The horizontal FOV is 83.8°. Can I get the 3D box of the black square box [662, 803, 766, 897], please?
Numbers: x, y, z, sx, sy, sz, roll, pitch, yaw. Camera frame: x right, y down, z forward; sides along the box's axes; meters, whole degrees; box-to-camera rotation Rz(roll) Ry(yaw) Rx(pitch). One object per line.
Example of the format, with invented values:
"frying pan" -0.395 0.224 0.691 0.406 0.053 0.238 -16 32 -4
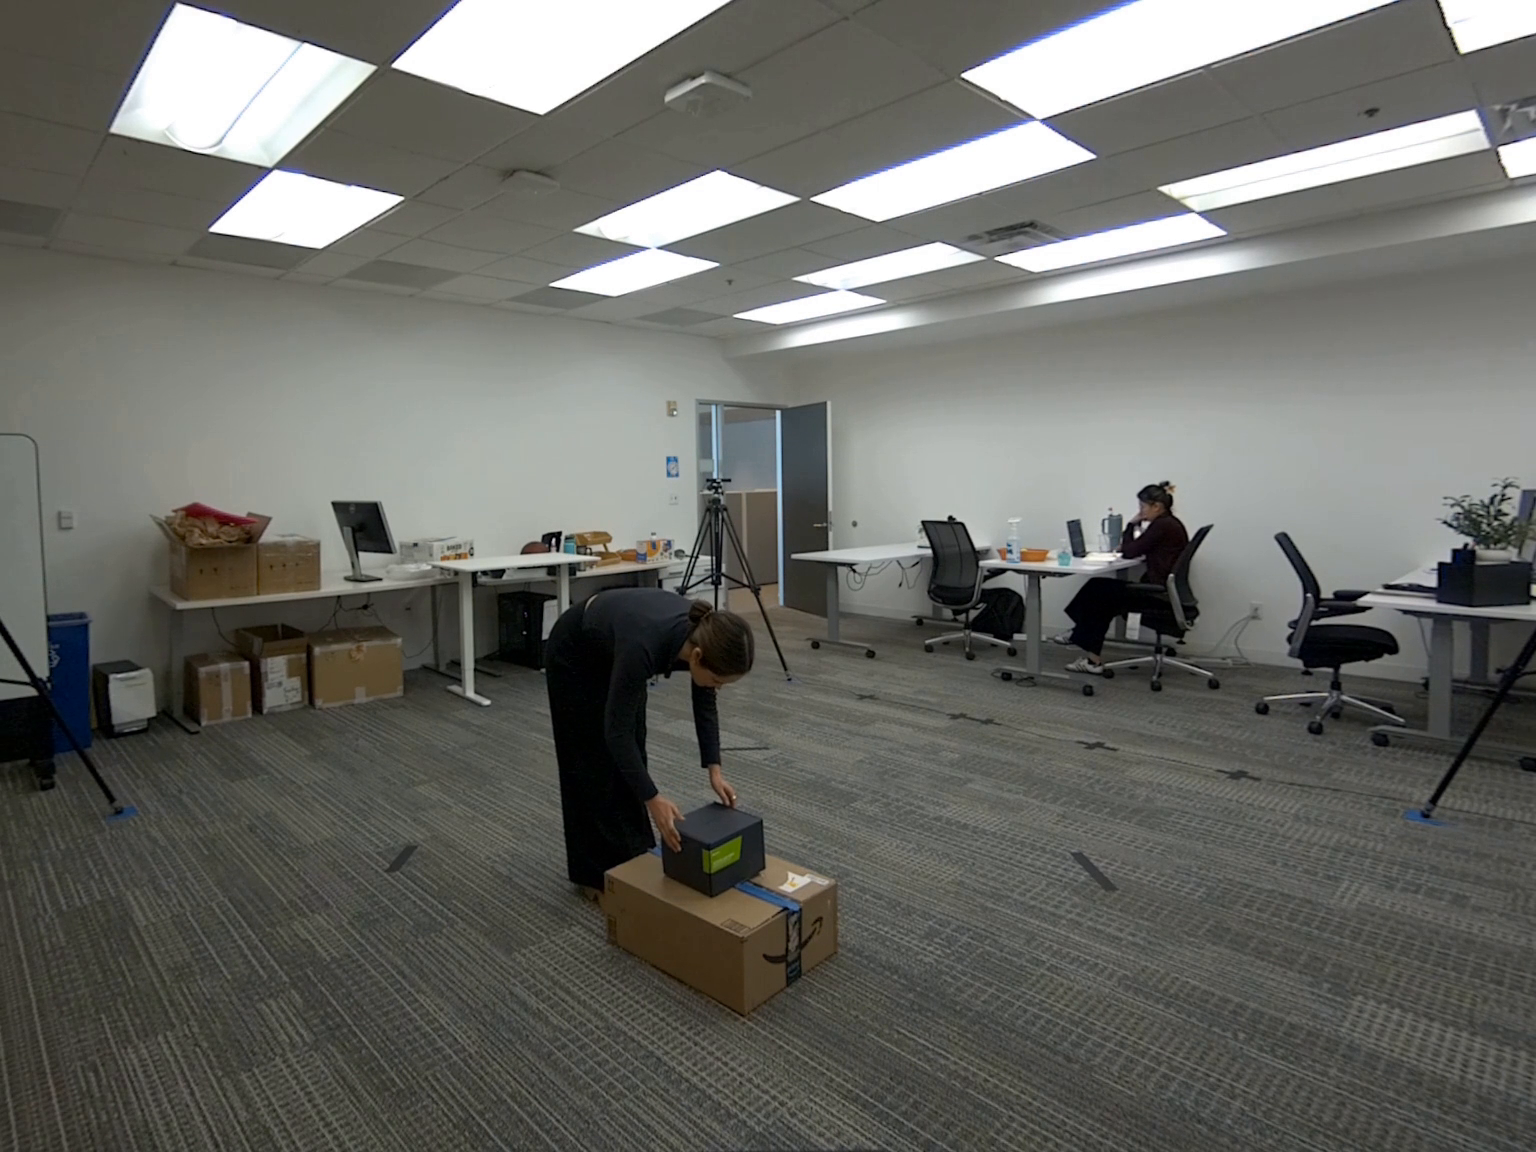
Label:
"black square box" -0.166 0.810 2.554 0.223 0.155 0.222 3 10 43
